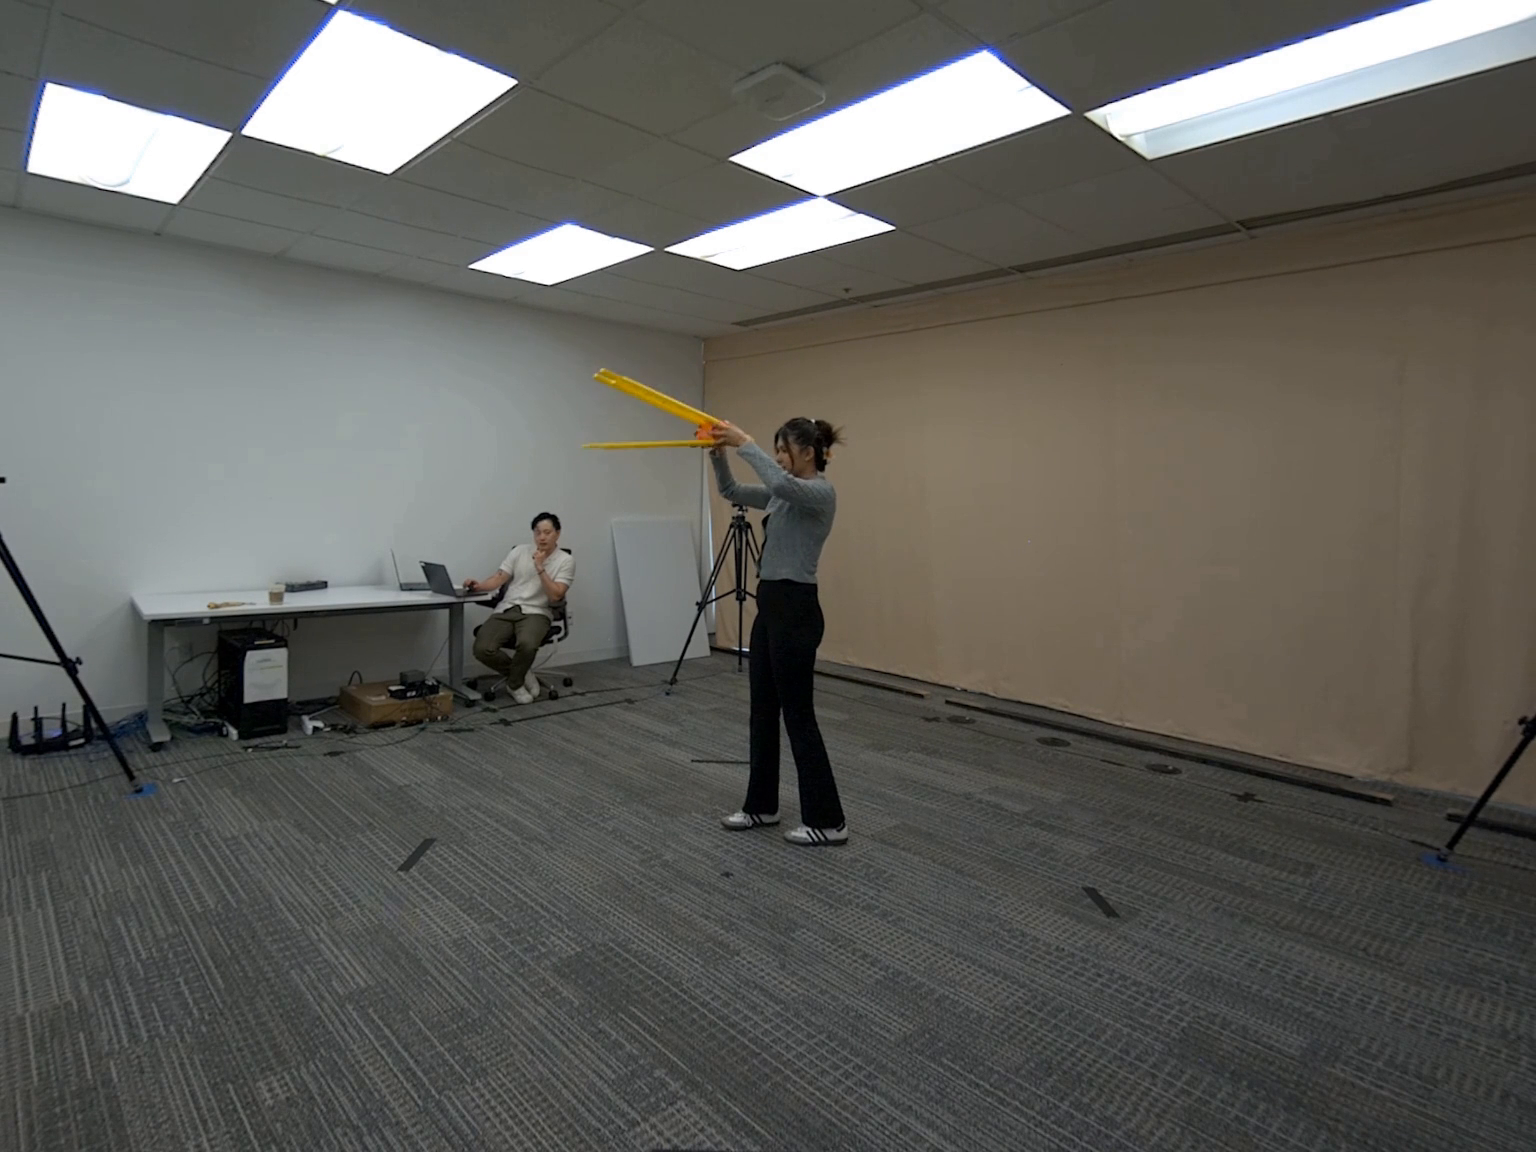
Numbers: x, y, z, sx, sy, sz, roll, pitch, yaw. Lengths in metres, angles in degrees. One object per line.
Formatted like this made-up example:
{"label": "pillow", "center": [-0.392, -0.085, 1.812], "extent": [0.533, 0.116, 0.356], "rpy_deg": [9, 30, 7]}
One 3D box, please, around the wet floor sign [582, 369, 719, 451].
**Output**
{"label": "wet floor sign", "center": [-0.385, -0.590, 3.321], "extent": [0.637, 0.289, 0.287], "rpy_deg": [8, 4, -17]}
